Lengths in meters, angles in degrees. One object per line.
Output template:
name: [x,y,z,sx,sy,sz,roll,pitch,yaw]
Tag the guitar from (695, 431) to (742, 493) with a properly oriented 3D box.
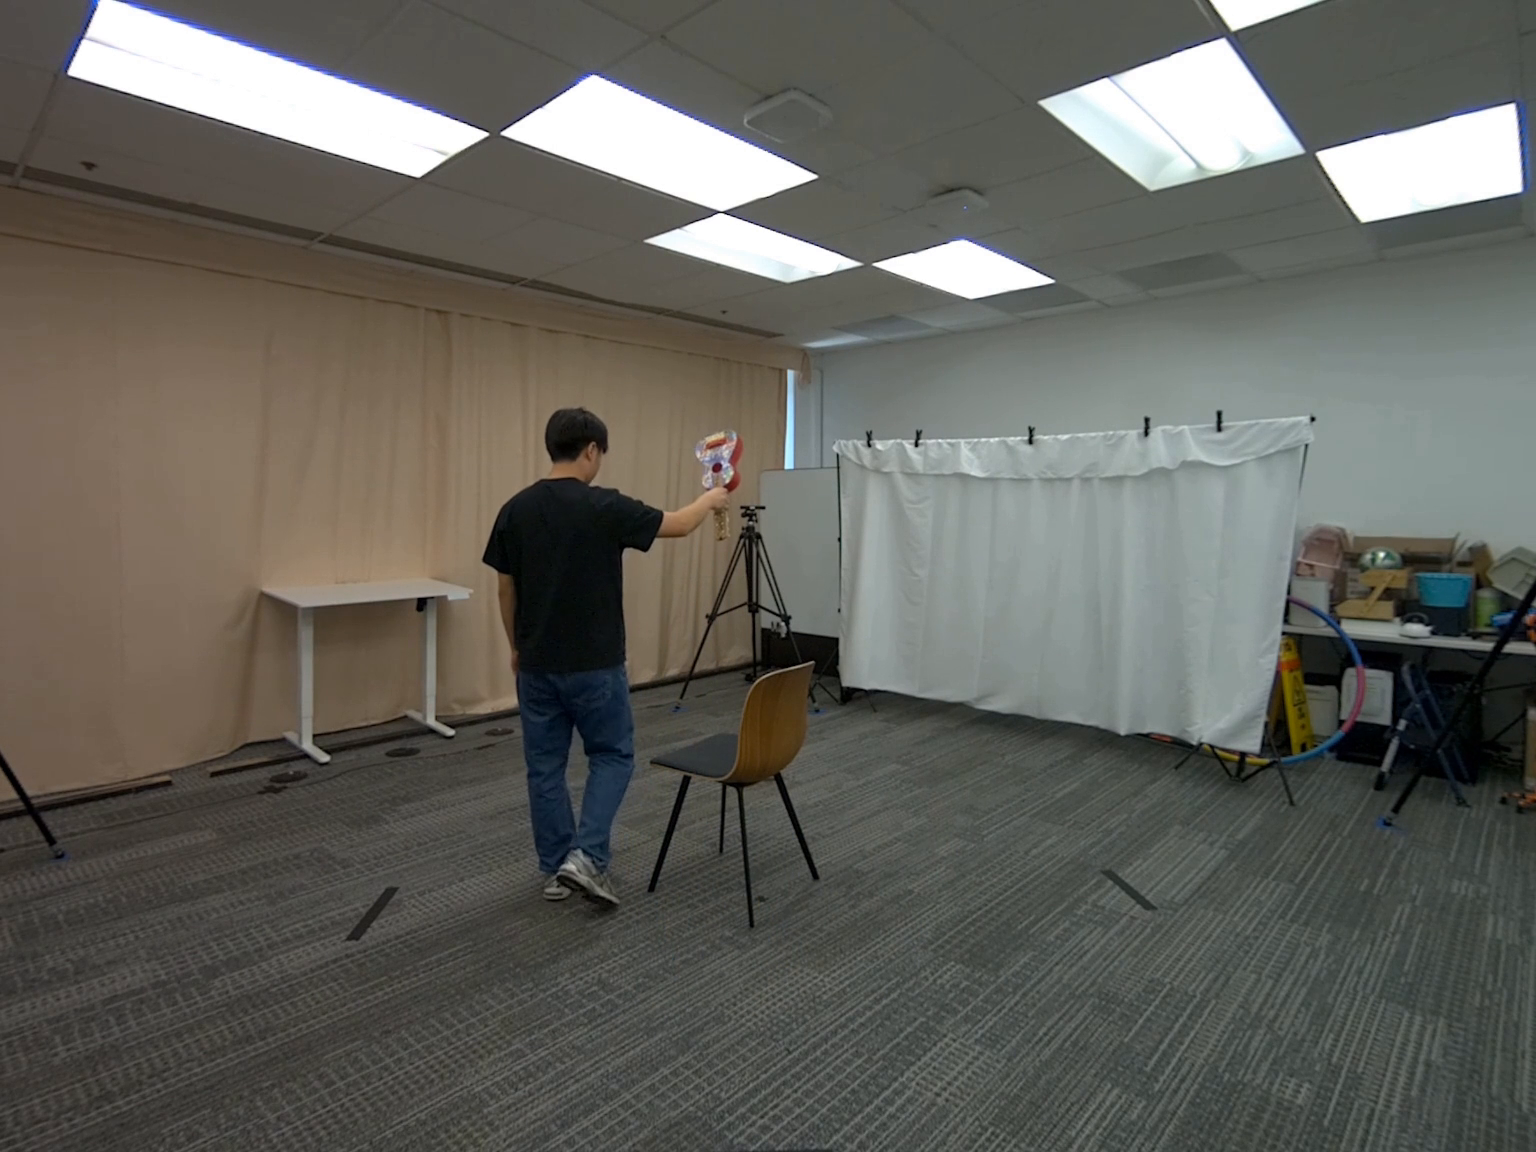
guitar: [-0.207,-0.350,3.363,0.197,0.503,0.068,-6,-26,25]
